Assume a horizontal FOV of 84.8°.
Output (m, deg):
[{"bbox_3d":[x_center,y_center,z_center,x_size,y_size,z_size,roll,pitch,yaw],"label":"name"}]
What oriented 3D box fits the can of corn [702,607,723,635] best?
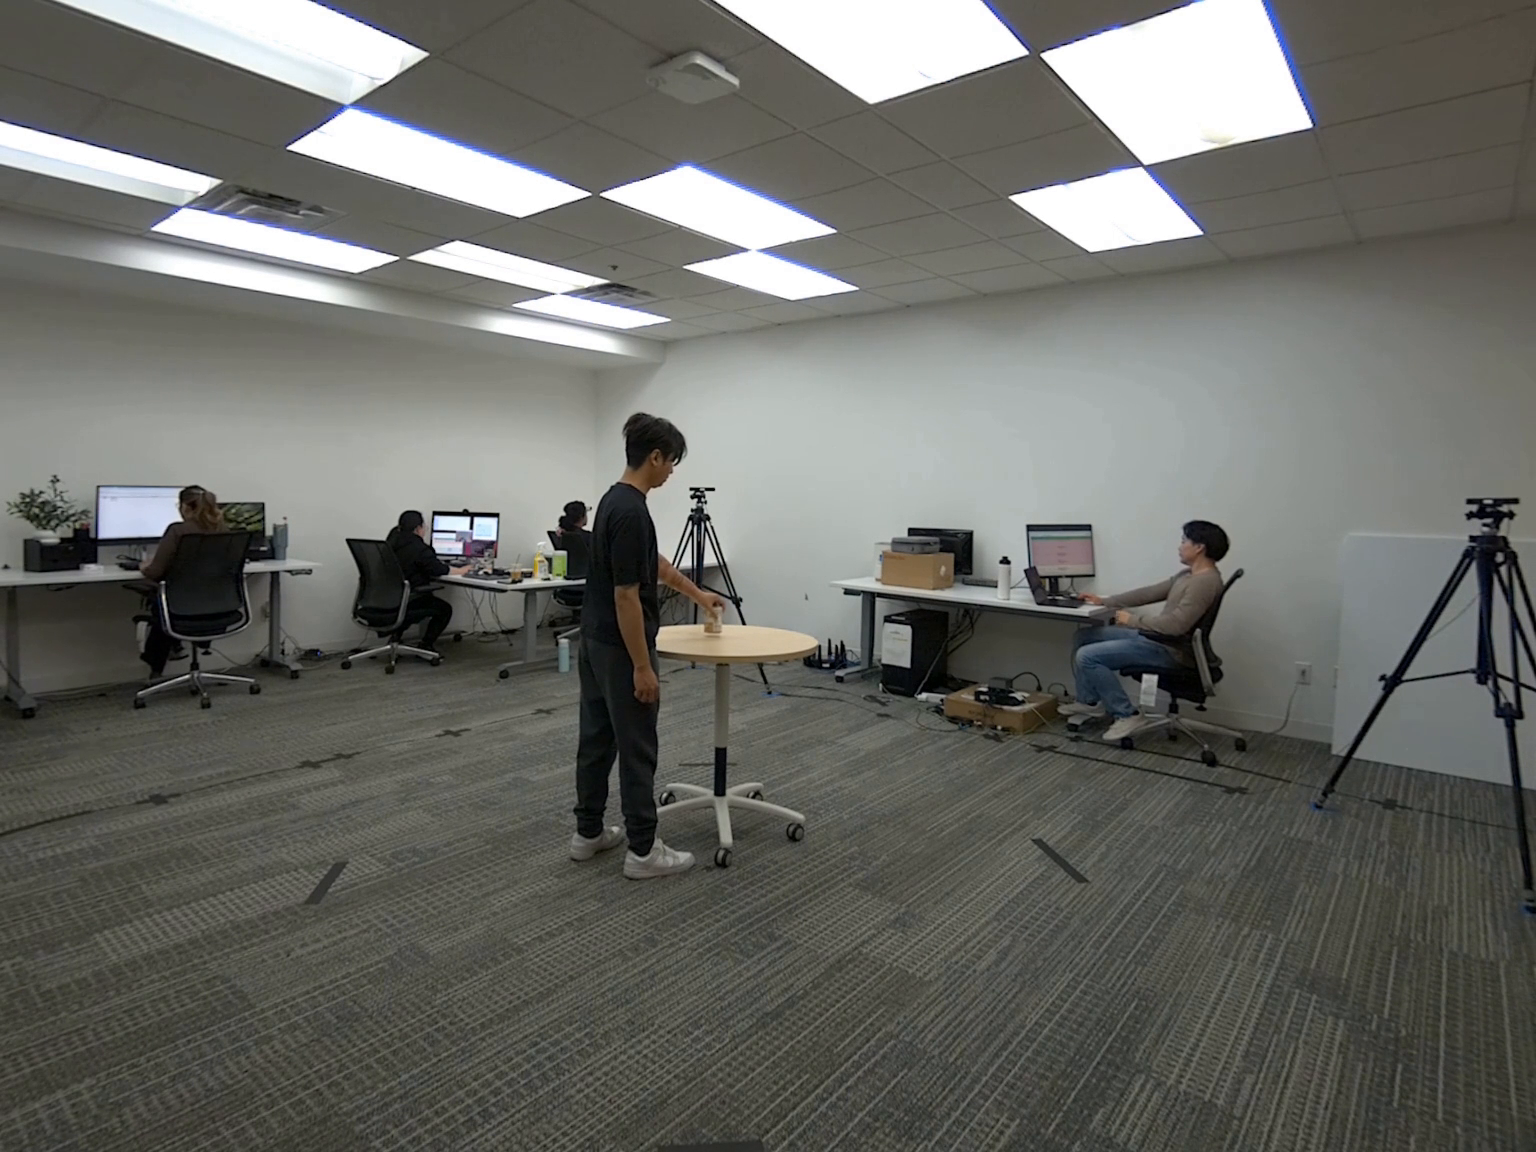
[{"bbox_3d":[-0.232,0.176,3.497,0.074,0.110,0.075,-1,6,-2],"label":"can of corn"}]
